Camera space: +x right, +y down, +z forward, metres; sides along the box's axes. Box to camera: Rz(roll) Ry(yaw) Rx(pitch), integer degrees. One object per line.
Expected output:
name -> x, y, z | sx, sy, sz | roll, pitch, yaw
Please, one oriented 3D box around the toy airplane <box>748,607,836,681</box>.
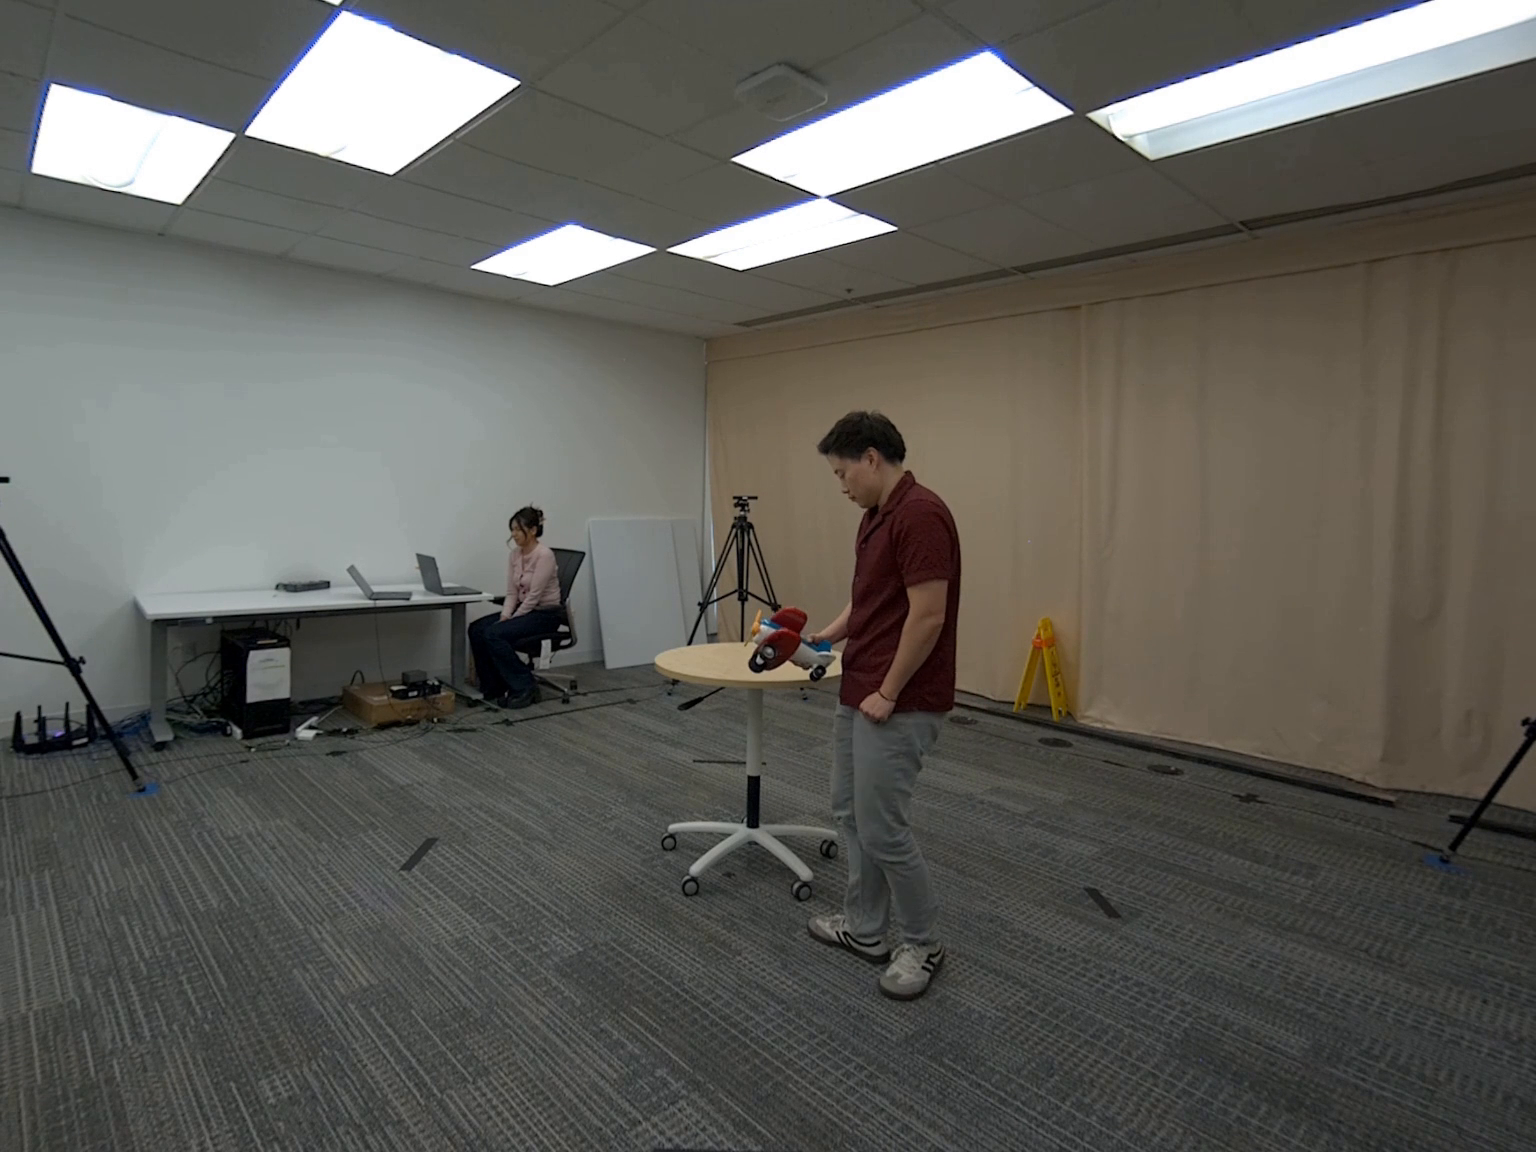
toy airplane -> 0.064, 0.227, 2.513 | 0.255, 0.159, 0.251 | -19, -37, 36
